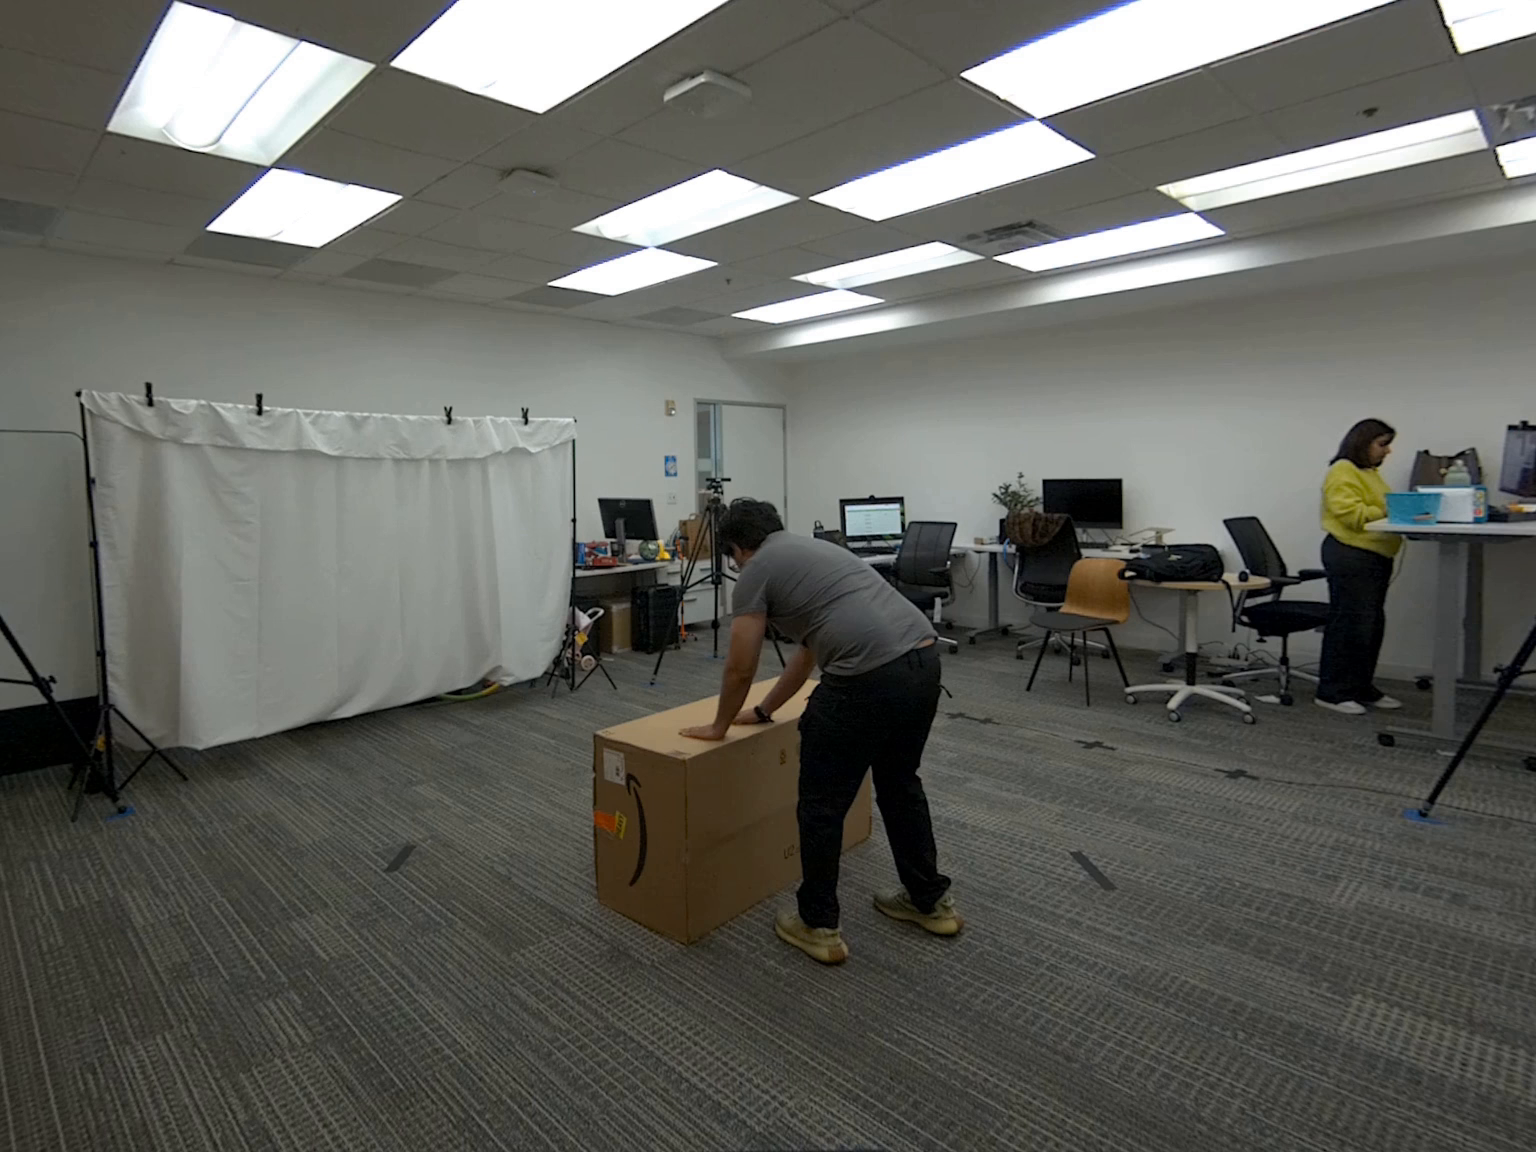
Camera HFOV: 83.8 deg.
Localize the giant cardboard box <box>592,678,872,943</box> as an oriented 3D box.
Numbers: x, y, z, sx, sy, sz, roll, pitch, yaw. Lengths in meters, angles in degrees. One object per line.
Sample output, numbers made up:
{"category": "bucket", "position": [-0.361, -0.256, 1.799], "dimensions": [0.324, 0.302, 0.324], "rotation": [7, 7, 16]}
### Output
{"category": "giant cardboard box", "position": [-0.091, 0.760, 3.061], "dimensions": [0.439, 0.575, 1.000], "rotation": [3, 7, 40]}
